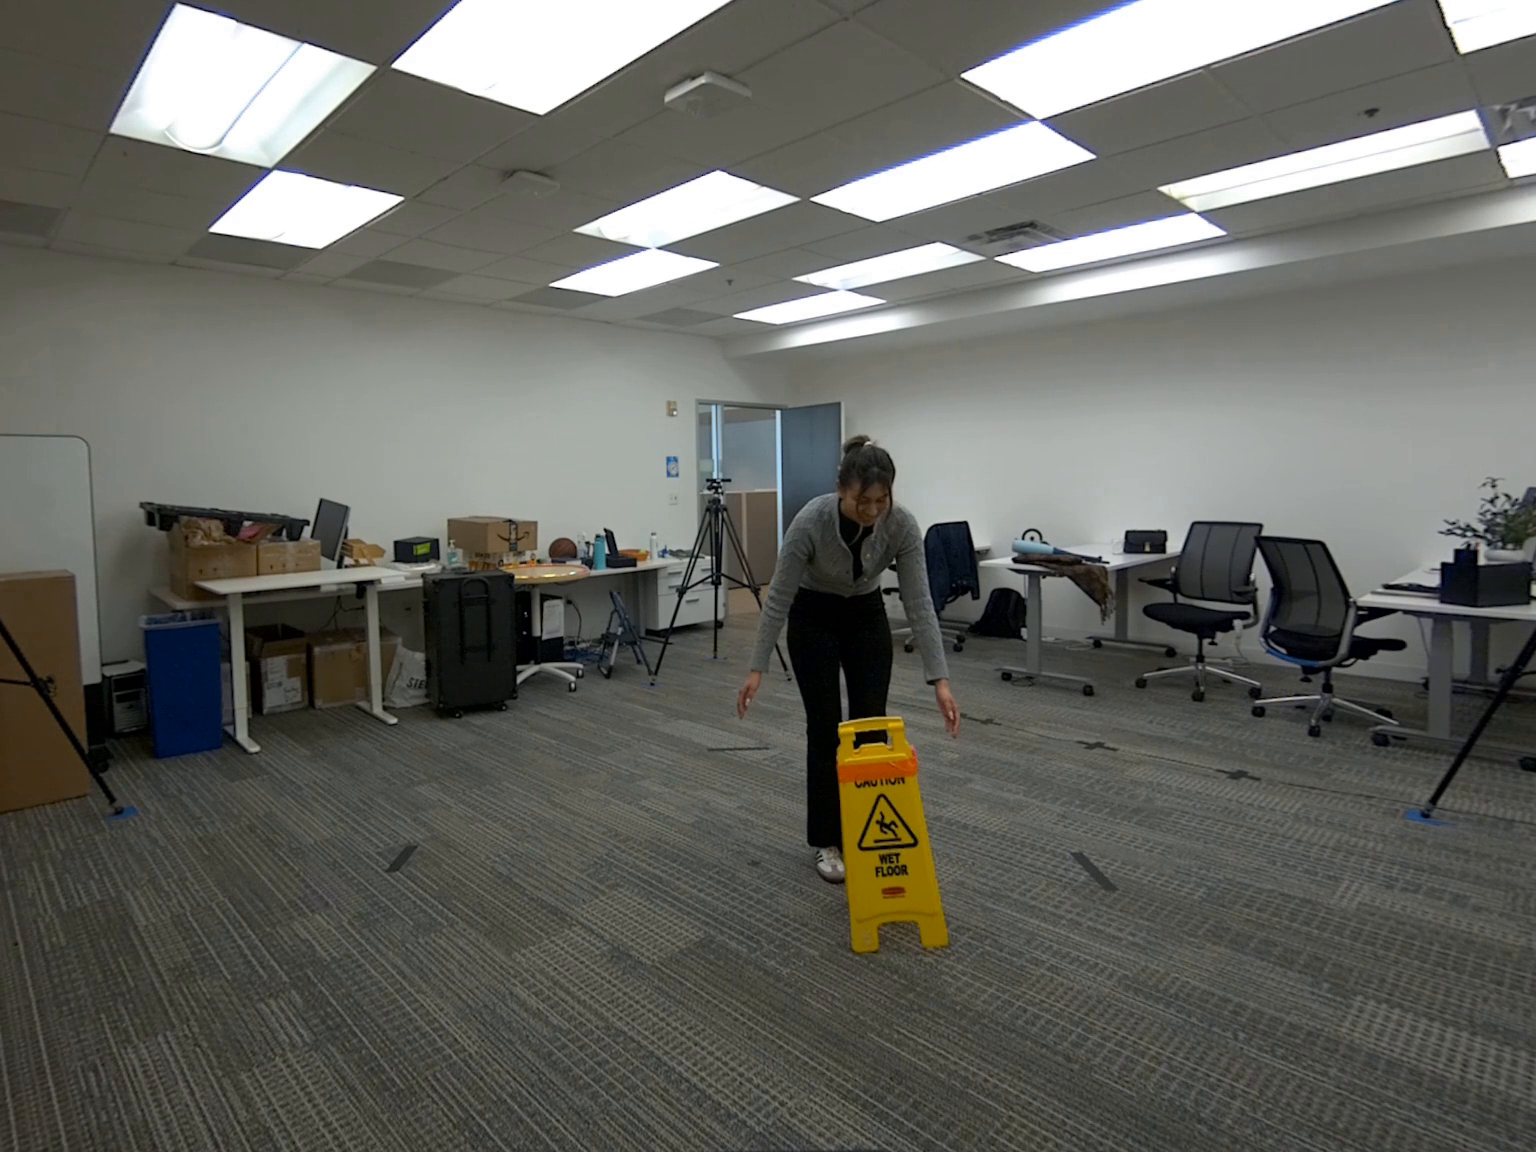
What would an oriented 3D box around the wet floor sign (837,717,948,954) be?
[{"bbox_3d":[0.363,0.763,2.627,0.284,0.643,0.289,-8,4,6],"label":"wet floor sign"}]
